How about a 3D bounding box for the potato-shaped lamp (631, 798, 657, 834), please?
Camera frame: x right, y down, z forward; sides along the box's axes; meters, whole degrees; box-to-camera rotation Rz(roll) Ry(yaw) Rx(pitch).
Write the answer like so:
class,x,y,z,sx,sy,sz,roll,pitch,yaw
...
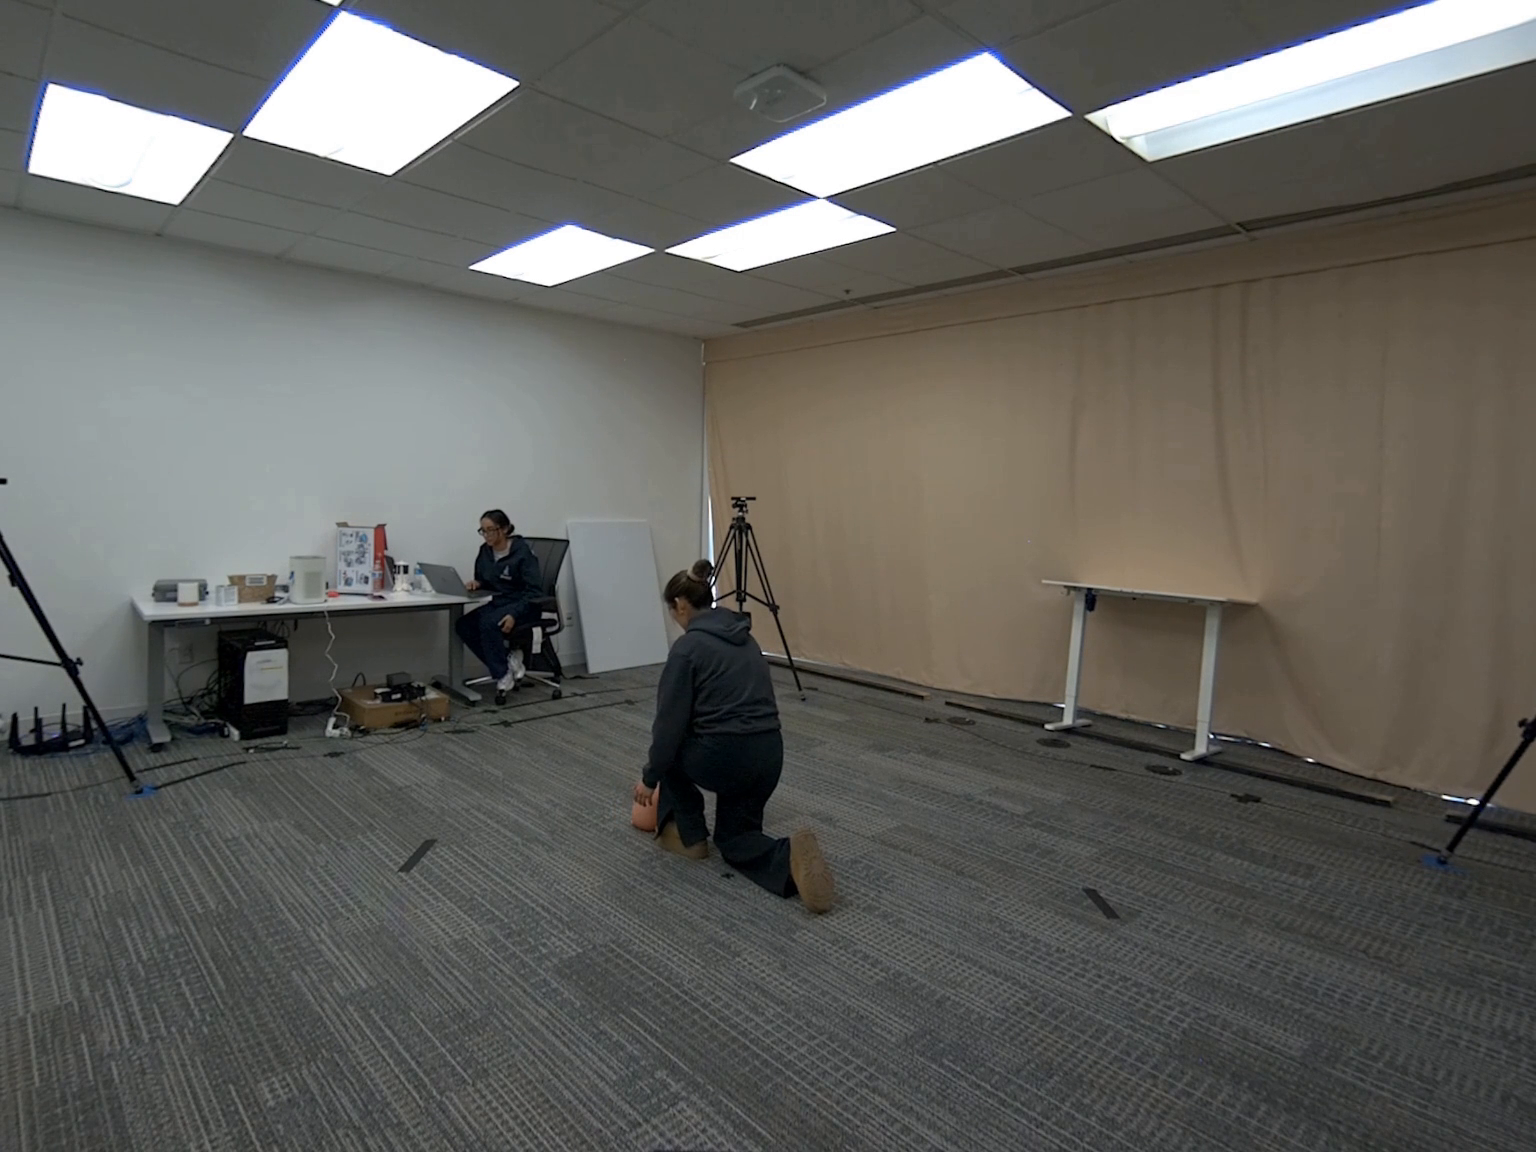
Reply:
class,x,y,z,sx,sy,sz,roll,pitch,yaw
potato-shaped lamp,-0.497,0.960,3.558,0.176,0.197,0.161,8,7,37
